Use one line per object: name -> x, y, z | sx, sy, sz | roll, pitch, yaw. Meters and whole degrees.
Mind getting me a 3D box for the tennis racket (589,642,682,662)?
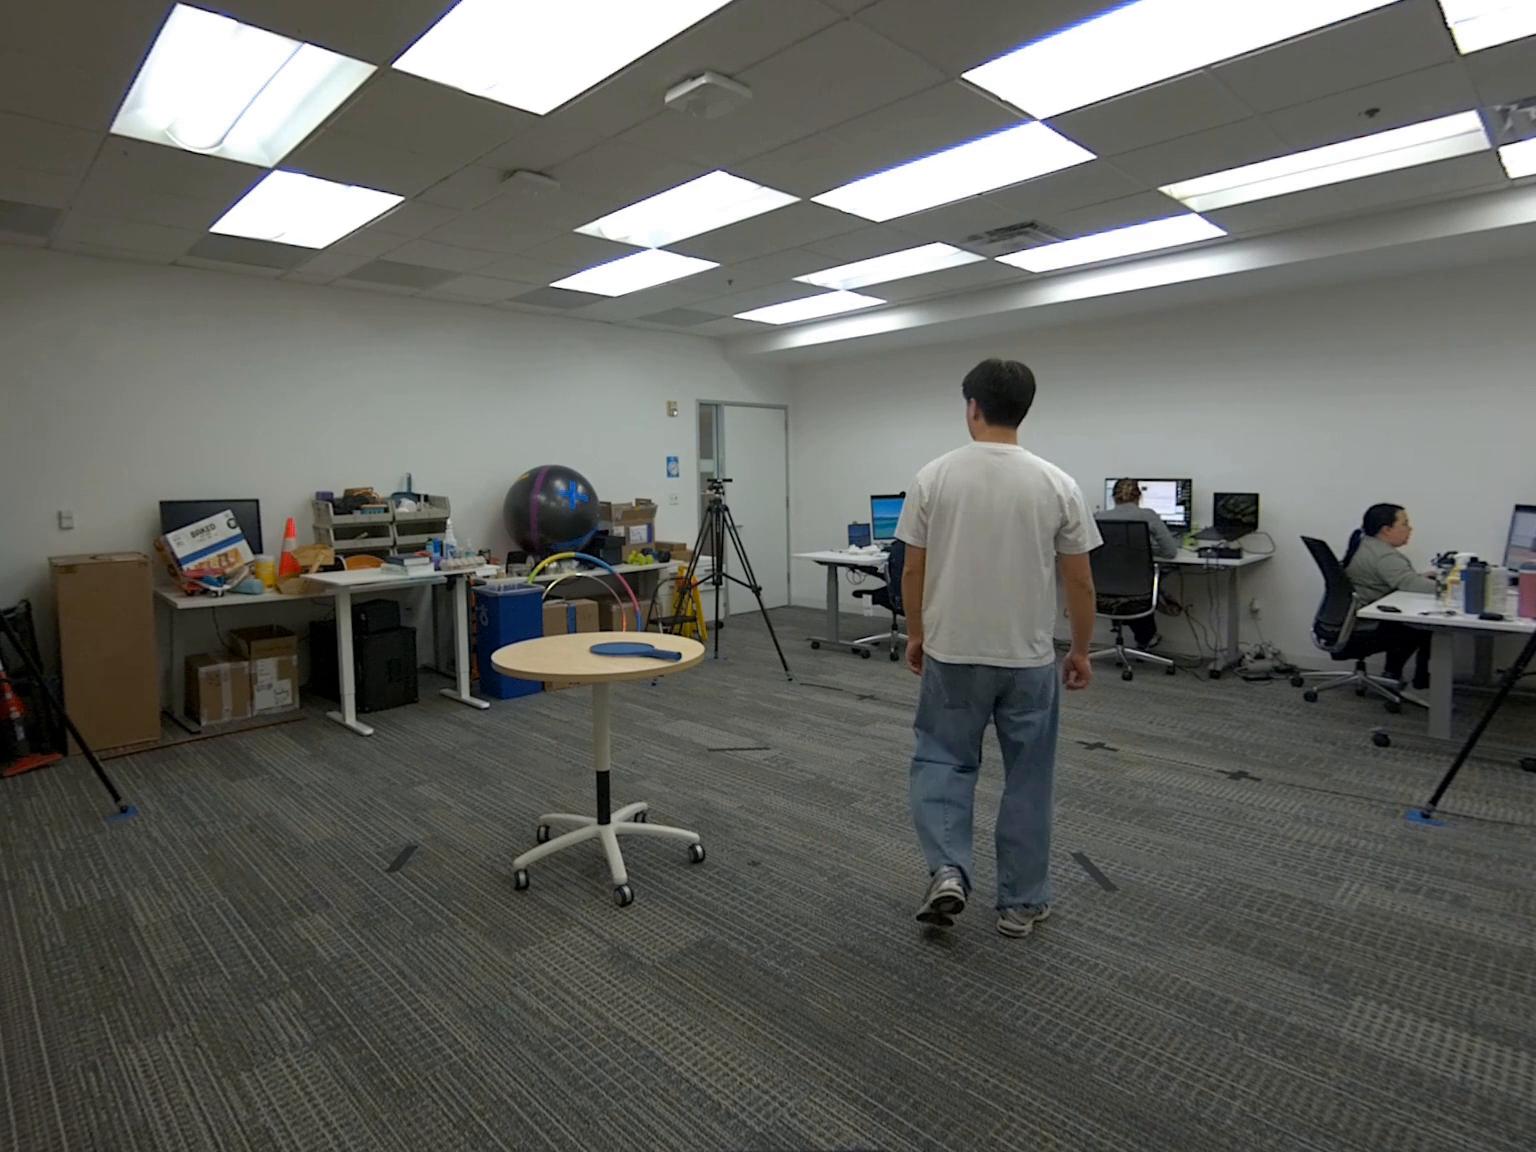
tennis racket -> -0.463, 0.268, 3.039 | 0.446, 0.031, 0.208 | 3, 7, 44
